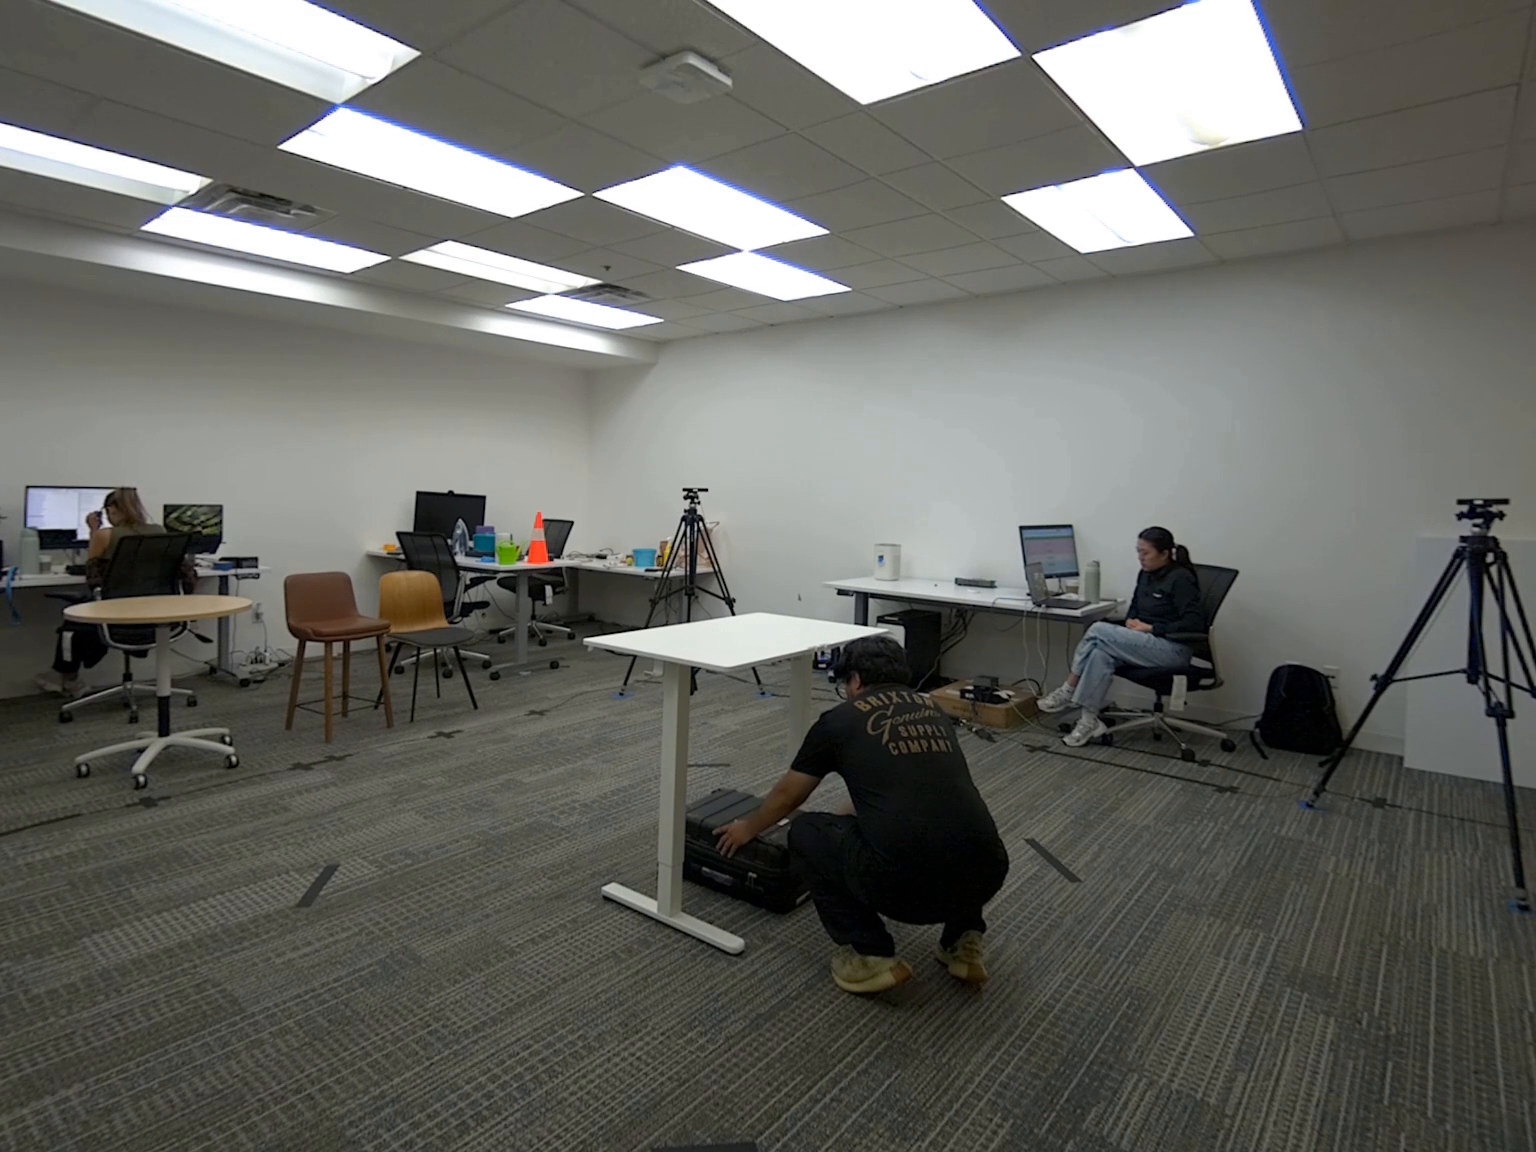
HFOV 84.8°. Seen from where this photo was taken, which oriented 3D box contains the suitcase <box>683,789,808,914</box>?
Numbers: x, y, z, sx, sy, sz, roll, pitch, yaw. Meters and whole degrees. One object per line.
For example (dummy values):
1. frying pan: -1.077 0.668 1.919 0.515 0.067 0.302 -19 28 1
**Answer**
1. suitcase: -0.081 0.962 3.030 0.567 0.247 0.365 4 5 35
